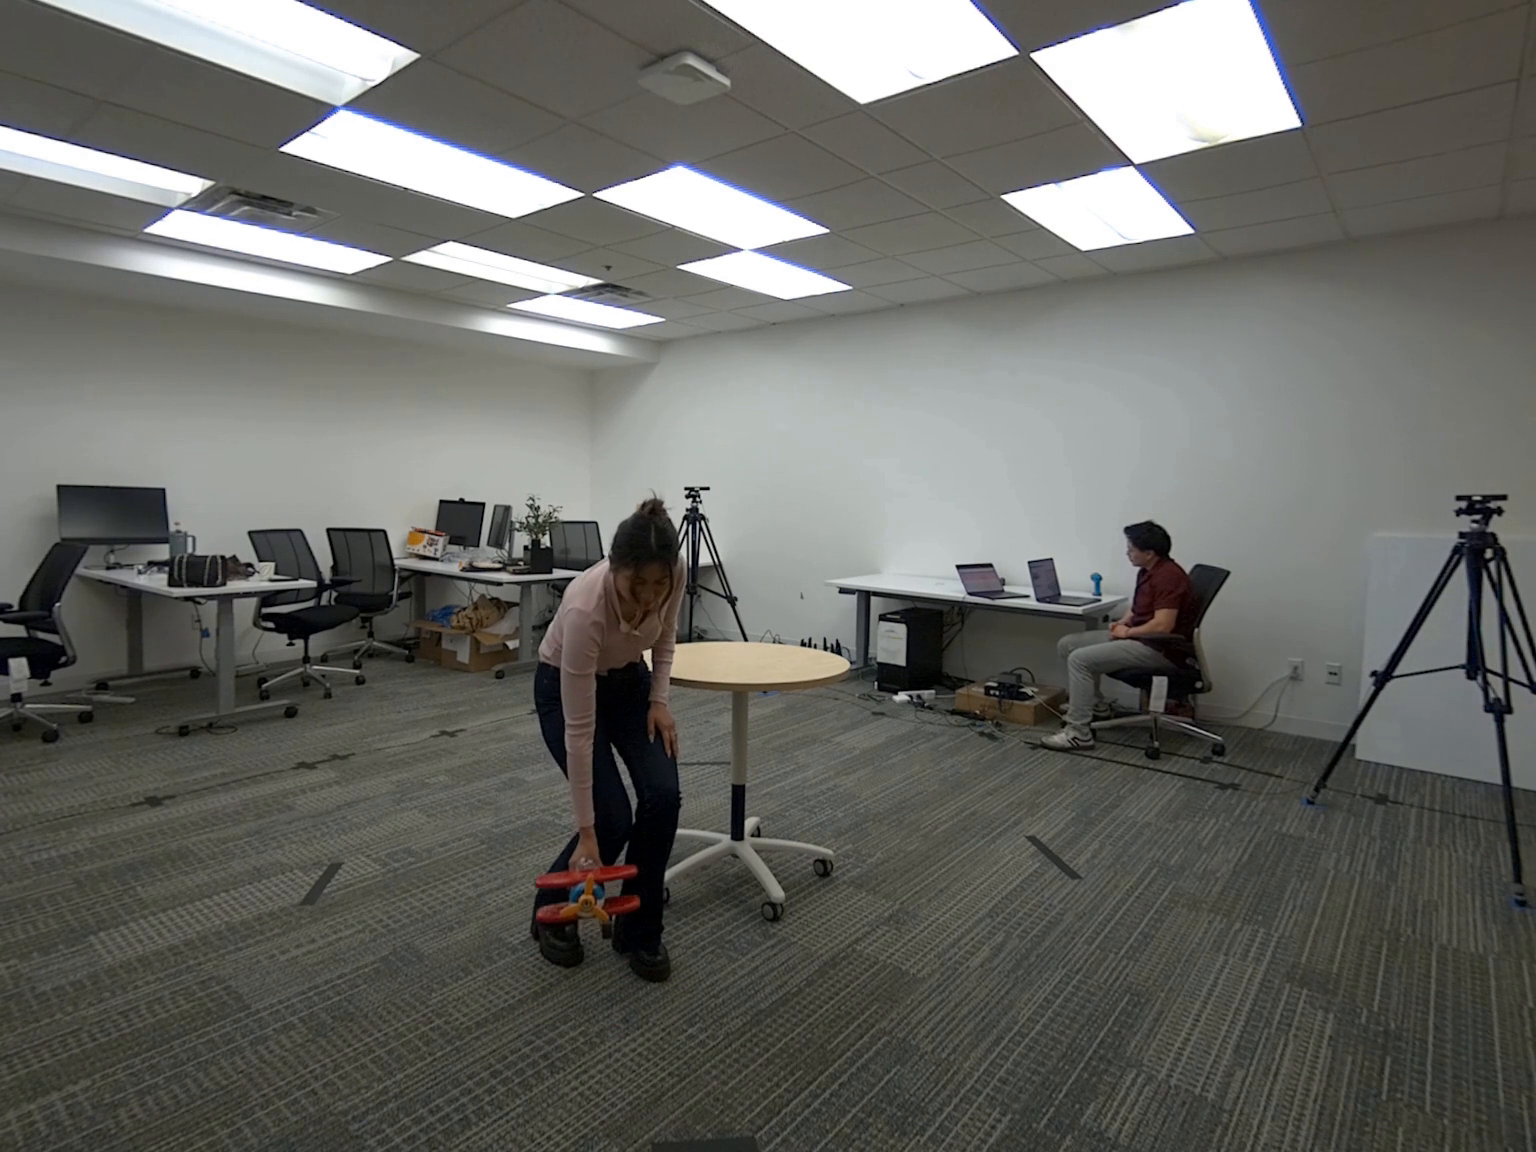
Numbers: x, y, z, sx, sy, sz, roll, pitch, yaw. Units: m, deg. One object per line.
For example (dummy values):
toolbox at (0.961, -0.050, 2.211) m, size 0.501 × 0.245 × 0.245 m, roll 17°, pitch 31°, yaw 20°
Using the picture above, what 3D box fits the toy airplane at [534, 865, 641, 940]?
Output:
toy airplane at (-0.473, 0.798, 2.153) m, size 0.245 × 0.155 × 0.268 m, roll -11°, pitch 14°, yaw -37°
